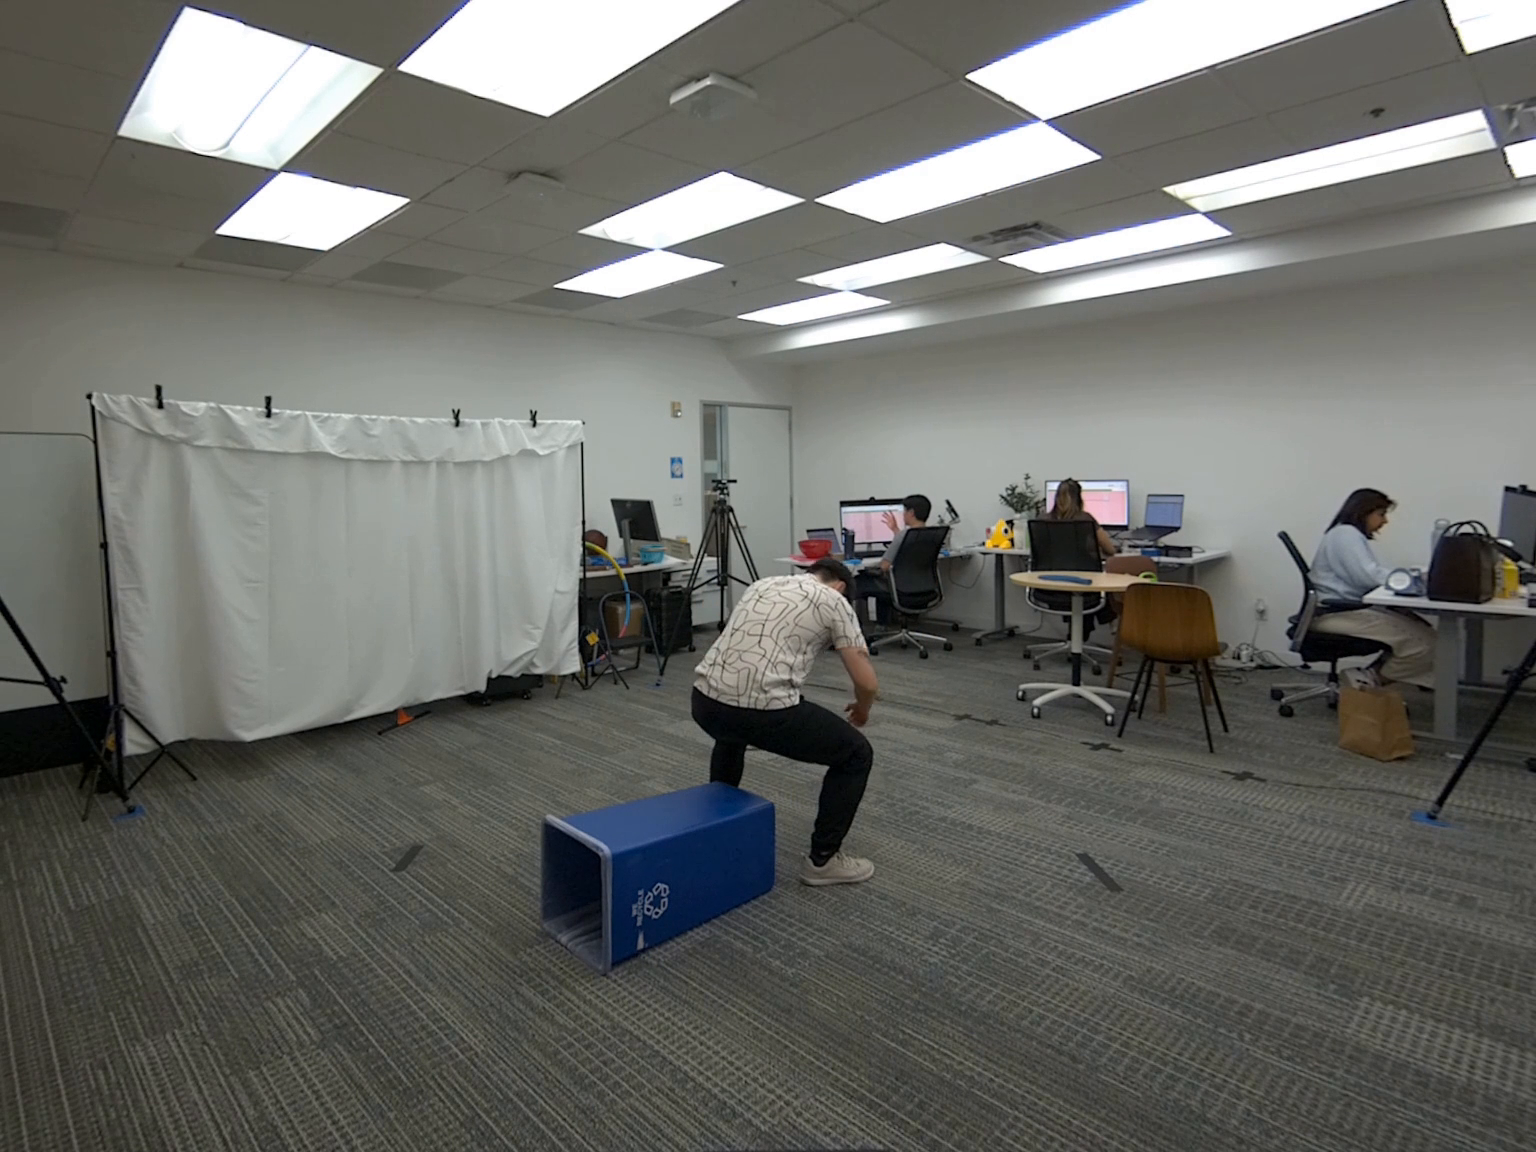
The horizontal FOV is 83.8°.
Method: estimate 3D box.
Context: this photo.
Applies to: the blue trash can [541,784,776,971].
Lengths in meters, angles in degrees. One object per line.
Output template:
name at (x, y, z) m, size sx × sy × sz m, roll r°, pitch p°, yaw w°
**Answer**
blue trash can at (-0.323, 0.918, 2.776) m, size 0.694 × 0.377 × 0.385 m, roll -4°, pitch 6°, yaw -42°
